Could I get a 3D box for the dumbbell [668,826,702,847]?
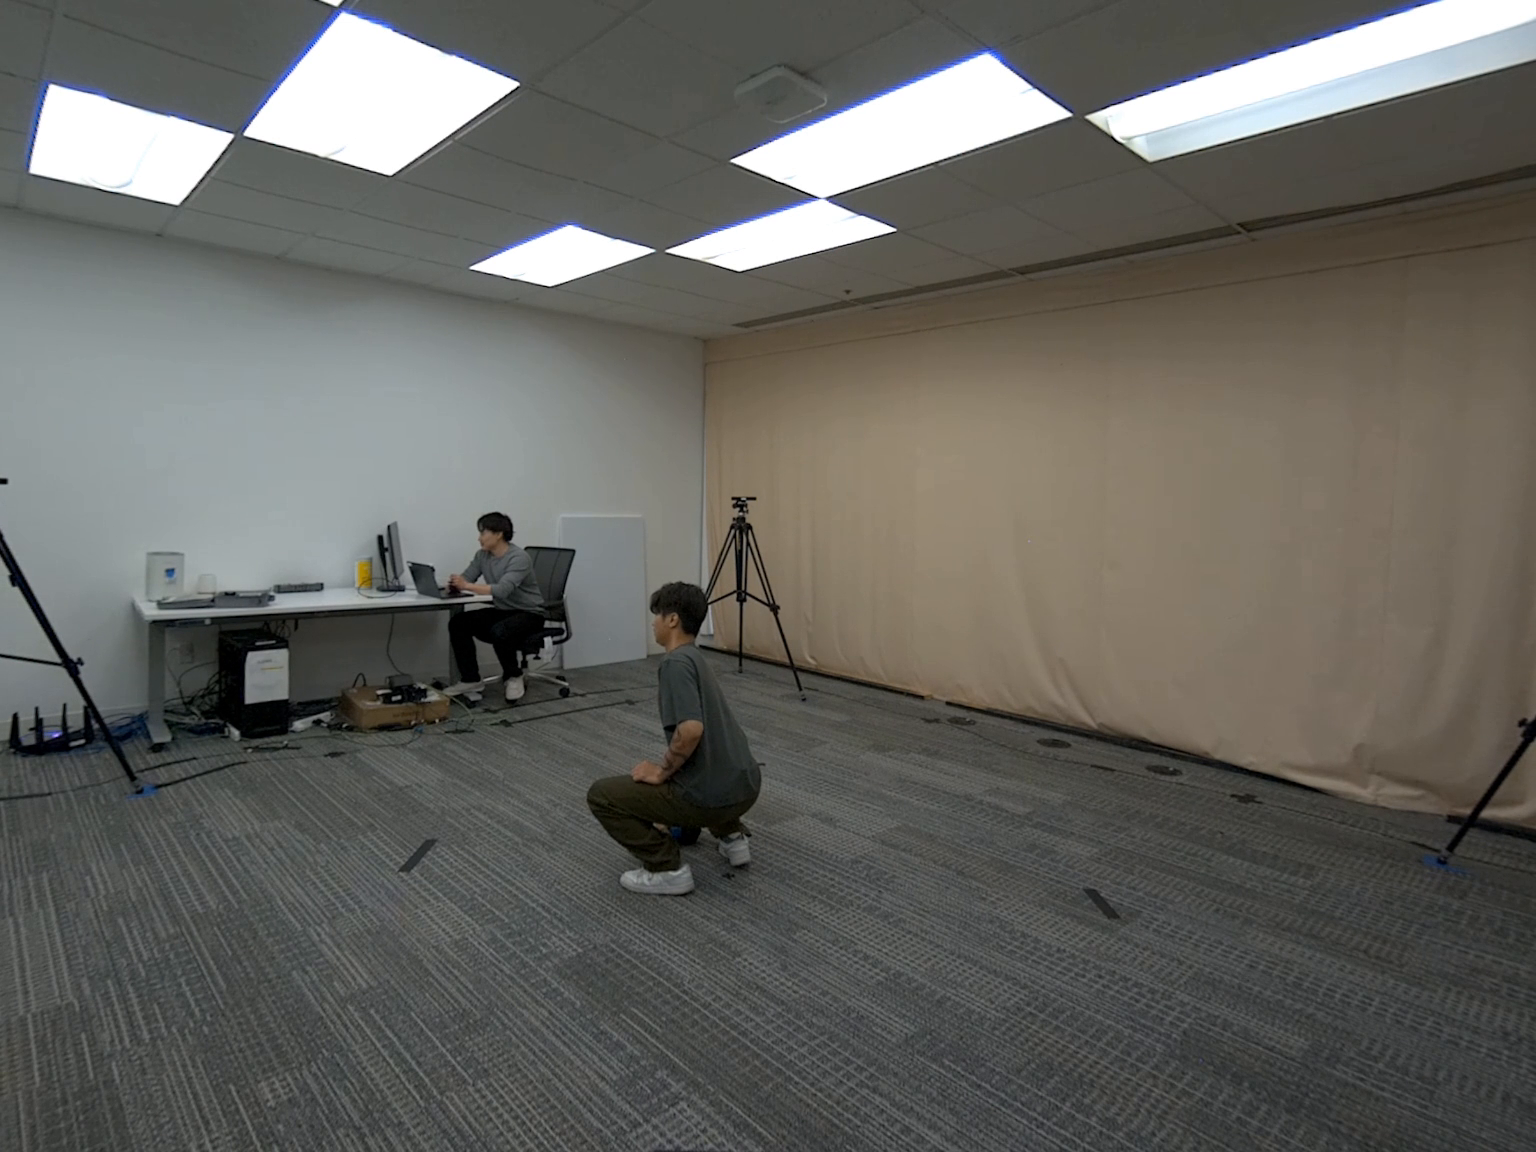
[{"bbox_3d":[-0.404,1.025,3.337,0.286,0.125,0.109,1,-28,-44],"label":"dumbbell"}]
